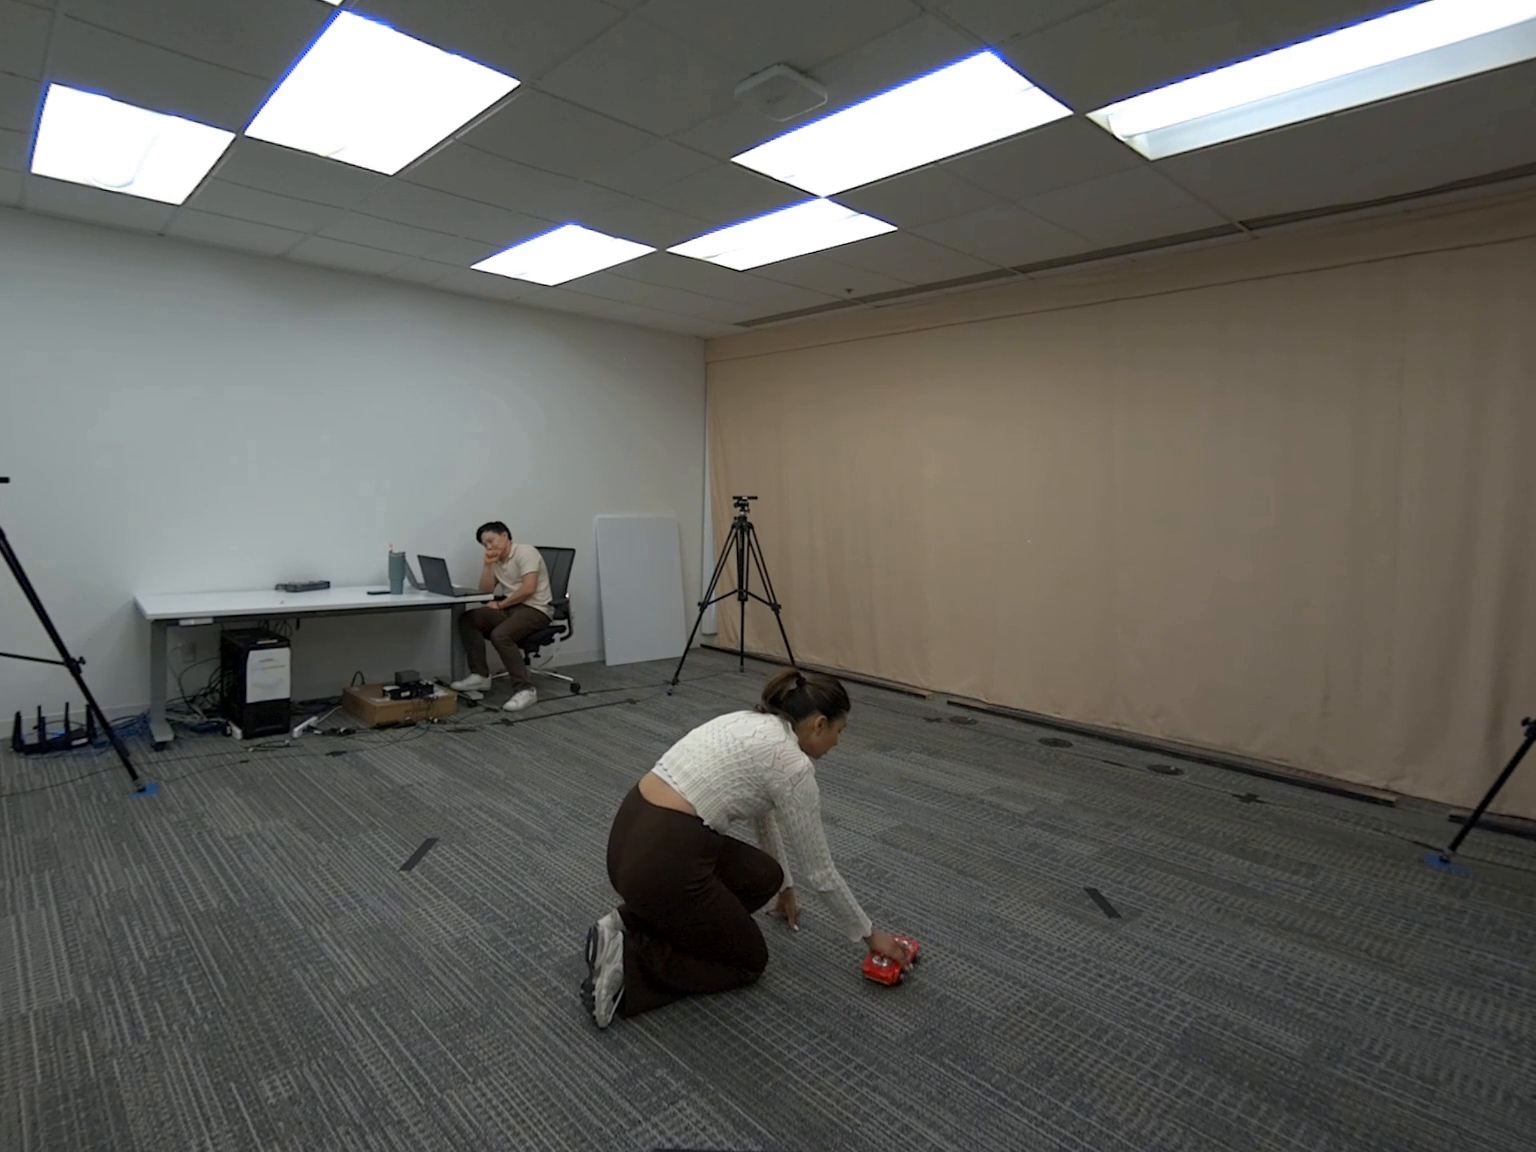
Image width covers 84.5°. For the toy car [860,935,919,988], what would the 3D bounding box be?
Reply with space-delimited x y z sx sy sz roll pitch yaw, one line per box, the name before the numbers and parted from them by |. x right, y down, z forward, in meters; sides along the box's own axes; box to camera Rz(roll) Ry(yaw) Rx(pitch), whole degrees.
toy car | 0.356 1.143 2.487 0.133 0.083 0.248 5 -4 30
